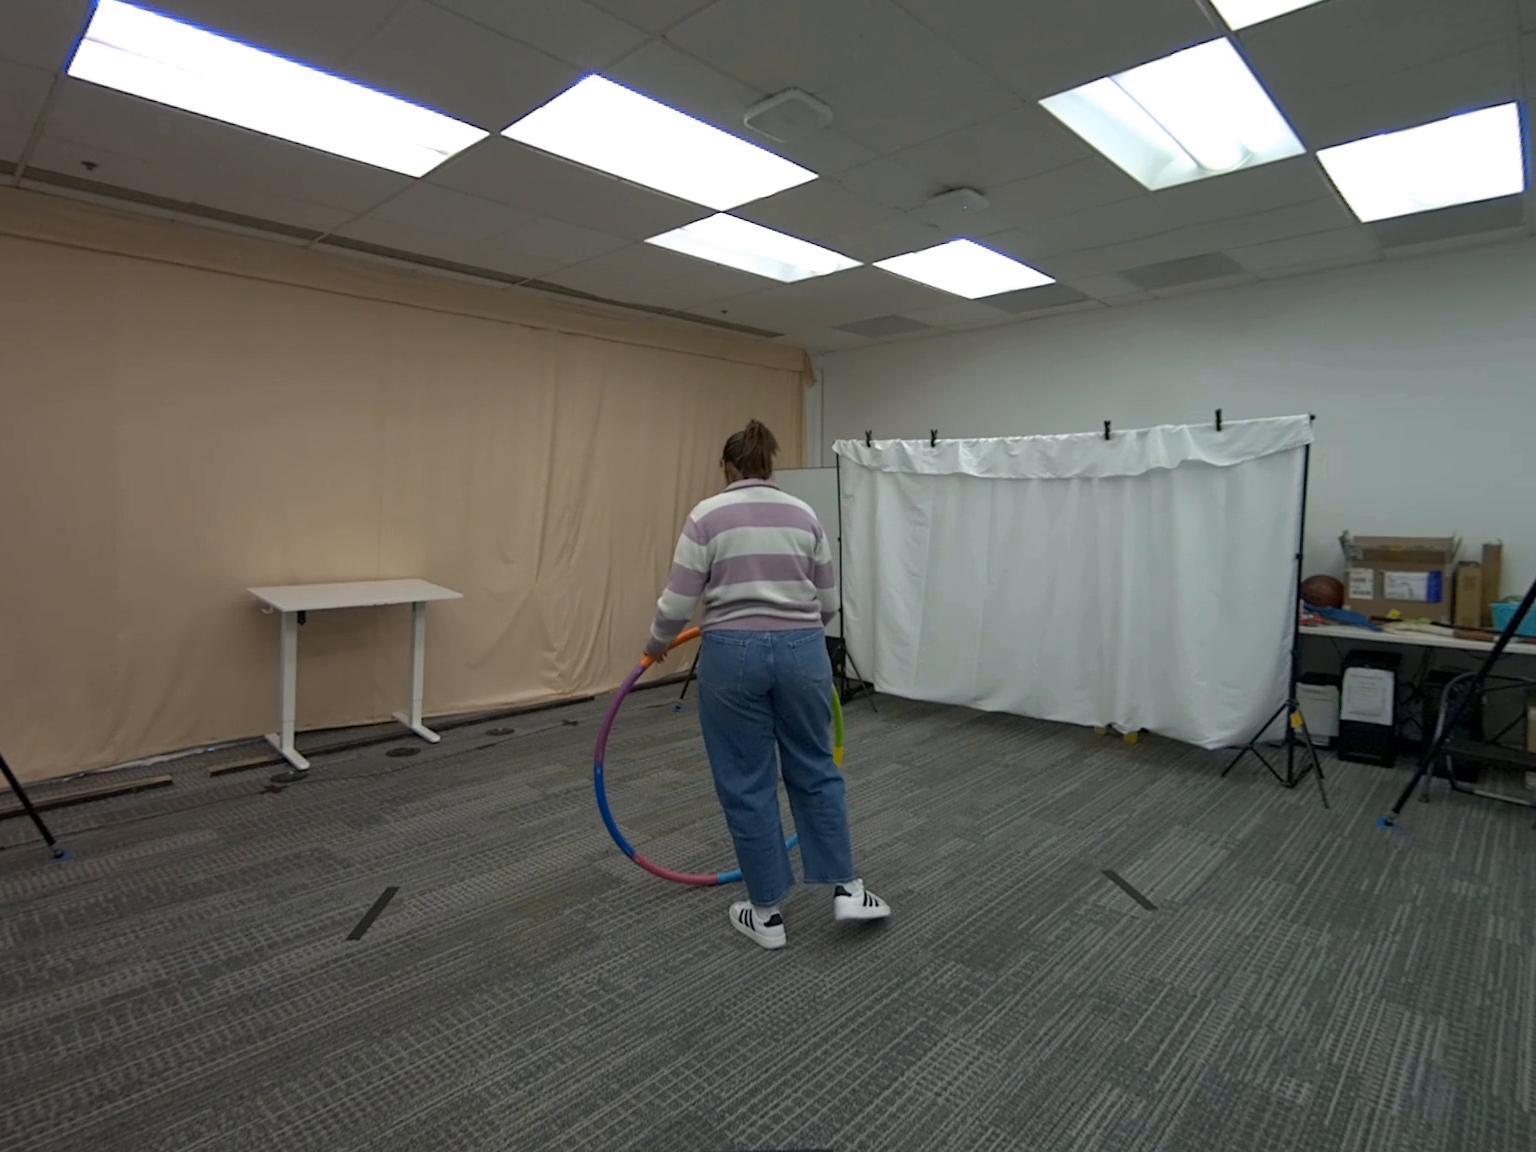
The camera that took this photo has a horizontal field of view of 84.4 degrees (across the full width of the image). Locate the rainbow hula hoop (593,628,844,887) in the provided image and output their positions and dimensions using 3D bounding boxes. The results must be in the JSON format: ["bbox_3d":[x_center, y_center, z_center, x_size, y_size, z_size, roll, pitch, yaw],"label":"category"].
[{"bbox_3d":[-0.154,0.654,3.066,0.963,0.981,0.053,-2,7,-23],"label":"rainbow hula hoop"}]
